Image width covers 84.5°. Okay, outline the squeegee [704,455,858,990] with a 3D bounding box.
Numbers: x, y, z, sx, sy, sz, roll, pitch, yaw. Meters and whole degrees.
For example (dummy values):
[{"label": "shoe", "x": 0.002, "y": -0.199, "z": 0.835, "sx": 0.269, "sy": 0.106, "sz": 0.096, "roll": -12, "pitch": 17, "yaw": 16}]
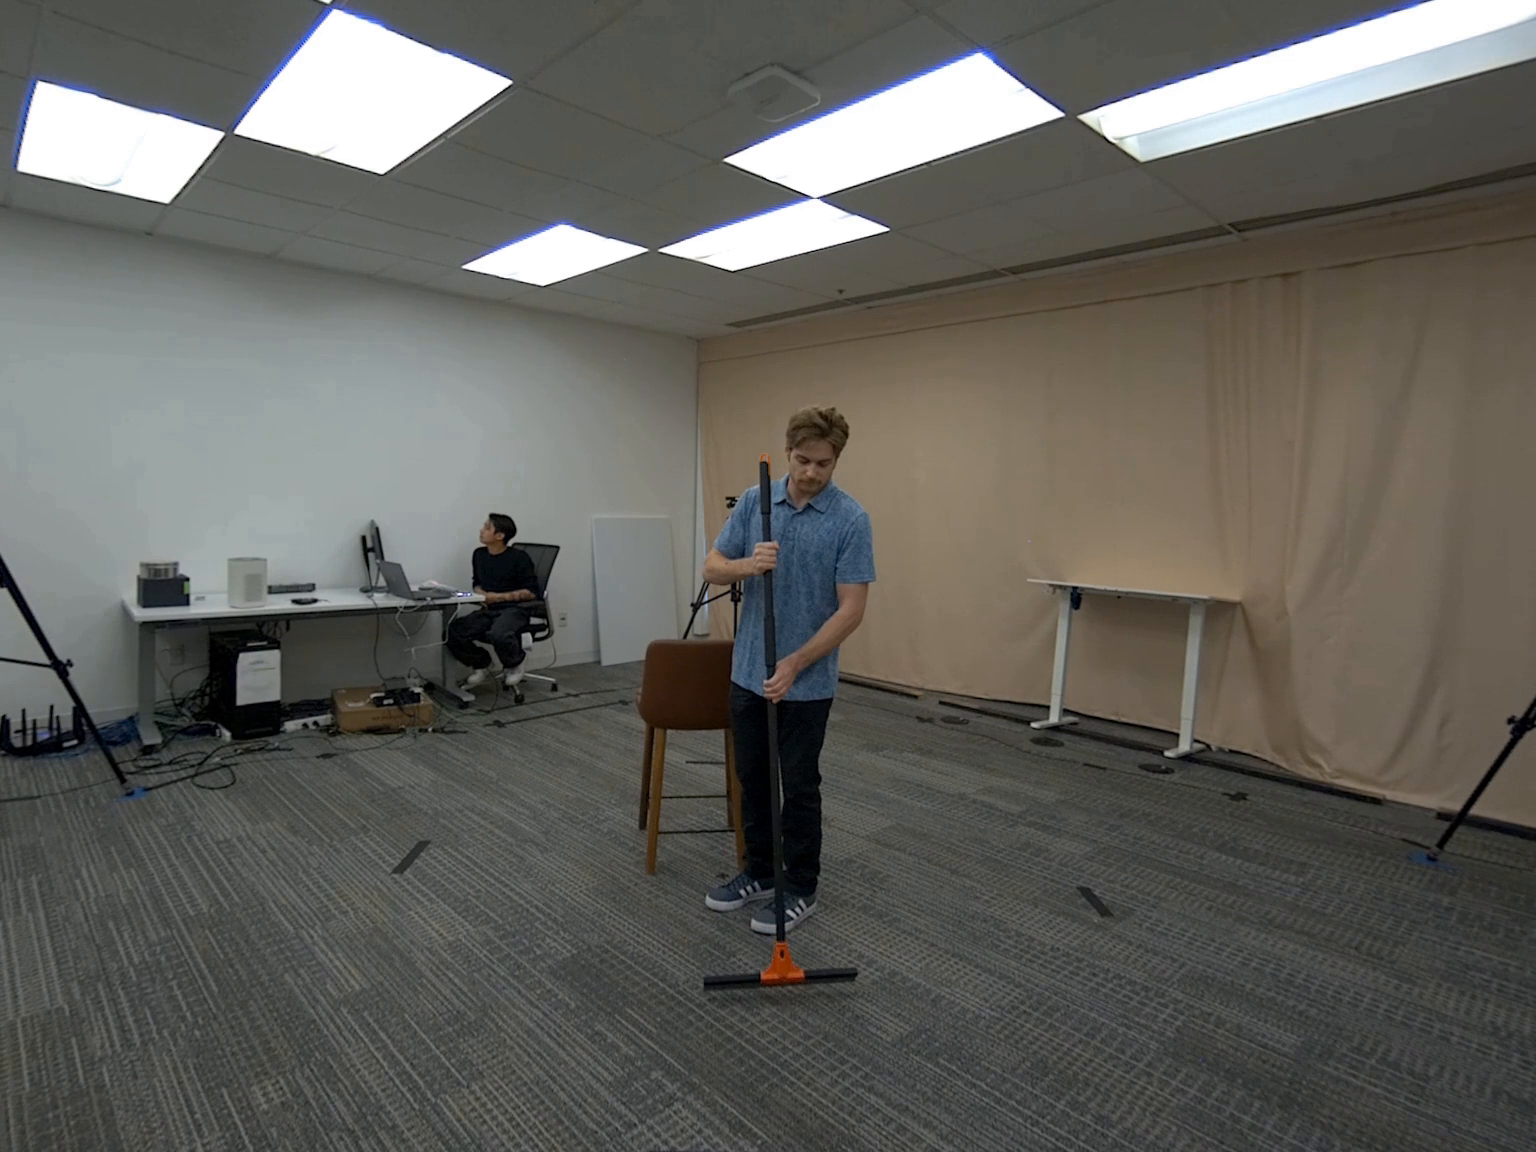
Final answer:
[{"label": "squeegee", "x": 0.003, "y": 0.412, "z": 2.466, "sx": 0.436, "sy": 1.550, "sz": 0.053, "roll": -4, "pitch": -10, "yaw": -5}]
